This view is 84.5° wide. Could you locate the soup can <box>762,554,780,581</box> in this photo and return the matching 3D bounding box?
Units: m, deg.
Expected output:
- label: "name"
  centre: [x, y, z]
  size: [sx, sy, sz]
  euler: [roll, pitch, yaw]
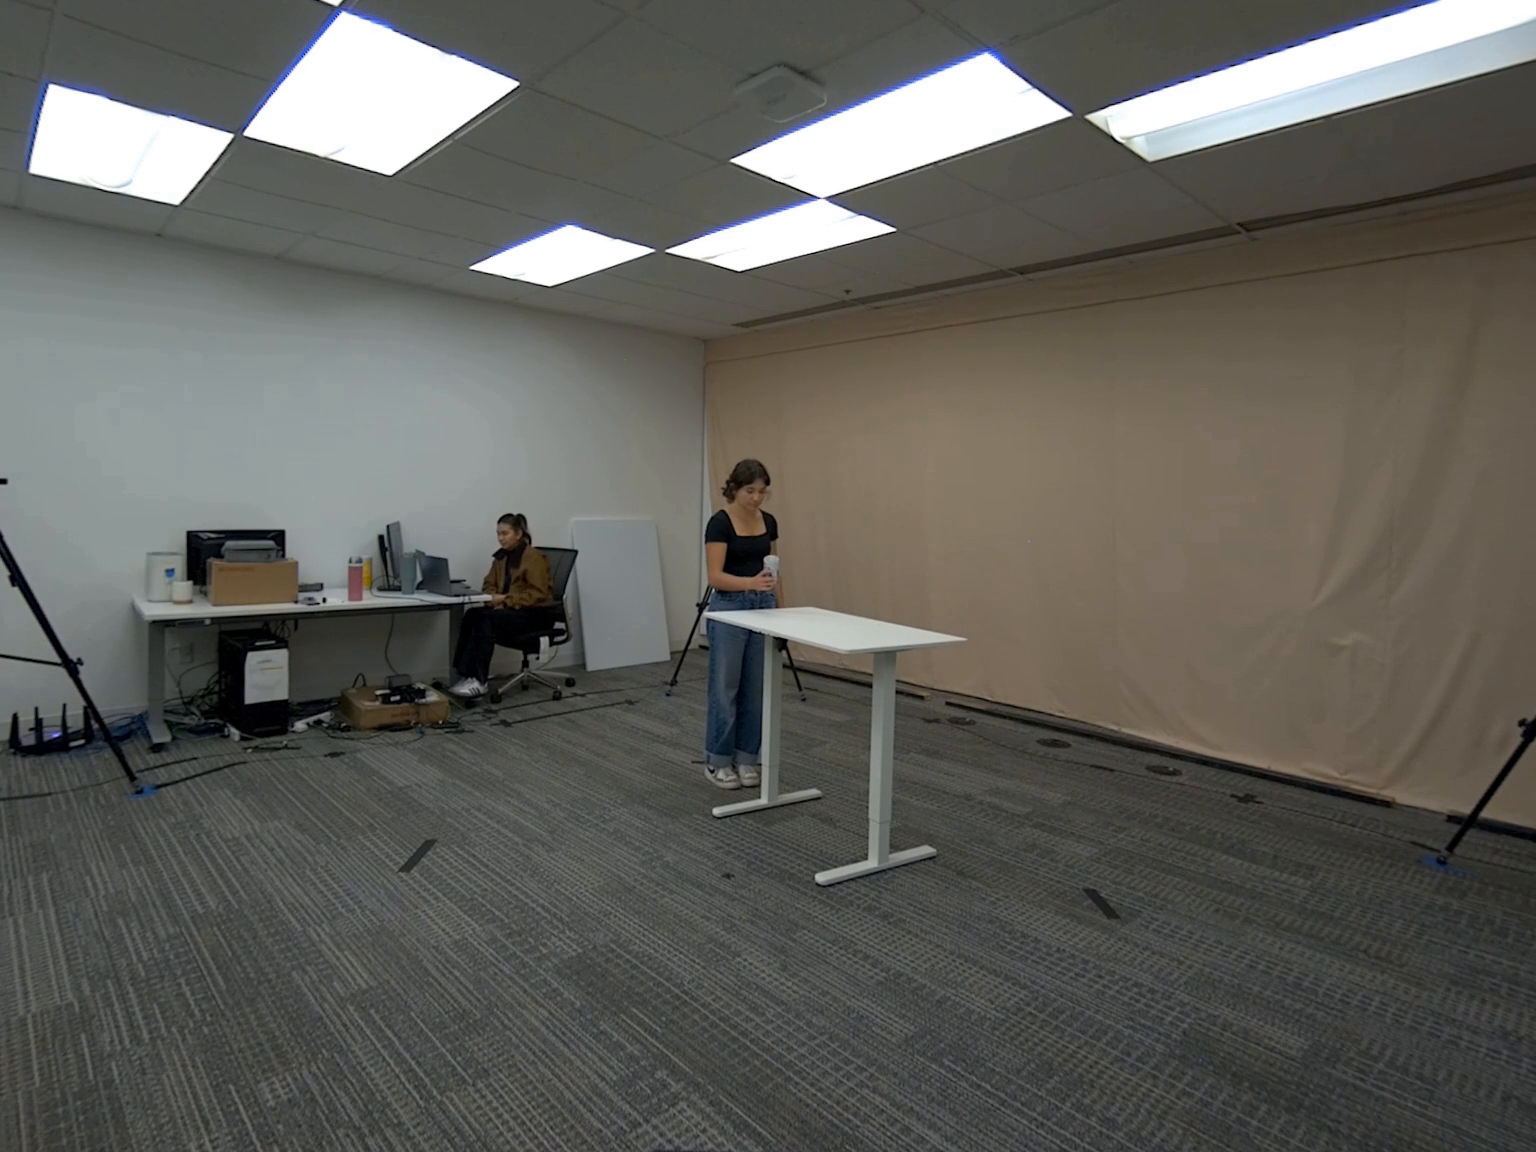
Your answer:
- label: "soup can"
  centre: [0.001, -0.027, 3.785]
  size: [0.067, 0.120, 0.068]
  euler: [-5, 17, 0]
